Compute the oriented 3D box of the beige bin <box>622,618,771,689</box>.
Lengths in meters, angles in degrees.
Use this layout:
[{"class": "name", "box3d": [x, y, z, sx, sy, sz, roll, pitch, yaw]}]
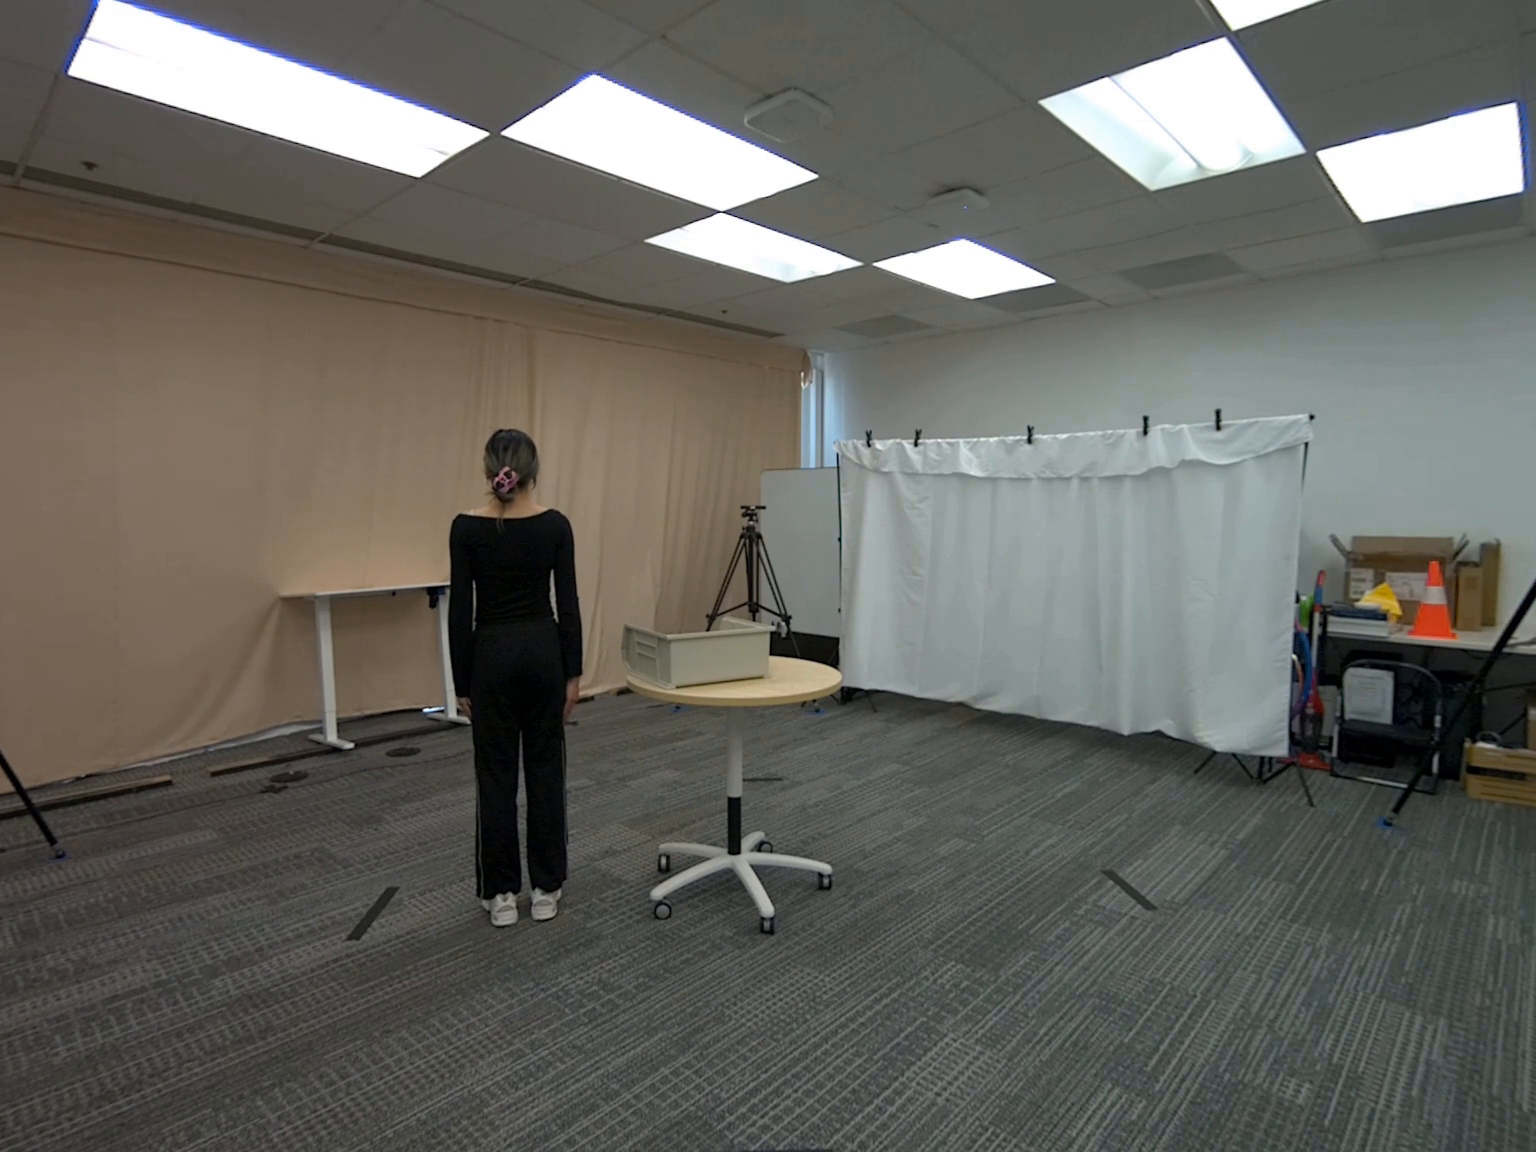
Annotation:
[{"class": "beige bin", "box3d": [-0.251, 0.263, 2.984, 0.411, 0.188, 0.389, -2, 6, -31]}]
